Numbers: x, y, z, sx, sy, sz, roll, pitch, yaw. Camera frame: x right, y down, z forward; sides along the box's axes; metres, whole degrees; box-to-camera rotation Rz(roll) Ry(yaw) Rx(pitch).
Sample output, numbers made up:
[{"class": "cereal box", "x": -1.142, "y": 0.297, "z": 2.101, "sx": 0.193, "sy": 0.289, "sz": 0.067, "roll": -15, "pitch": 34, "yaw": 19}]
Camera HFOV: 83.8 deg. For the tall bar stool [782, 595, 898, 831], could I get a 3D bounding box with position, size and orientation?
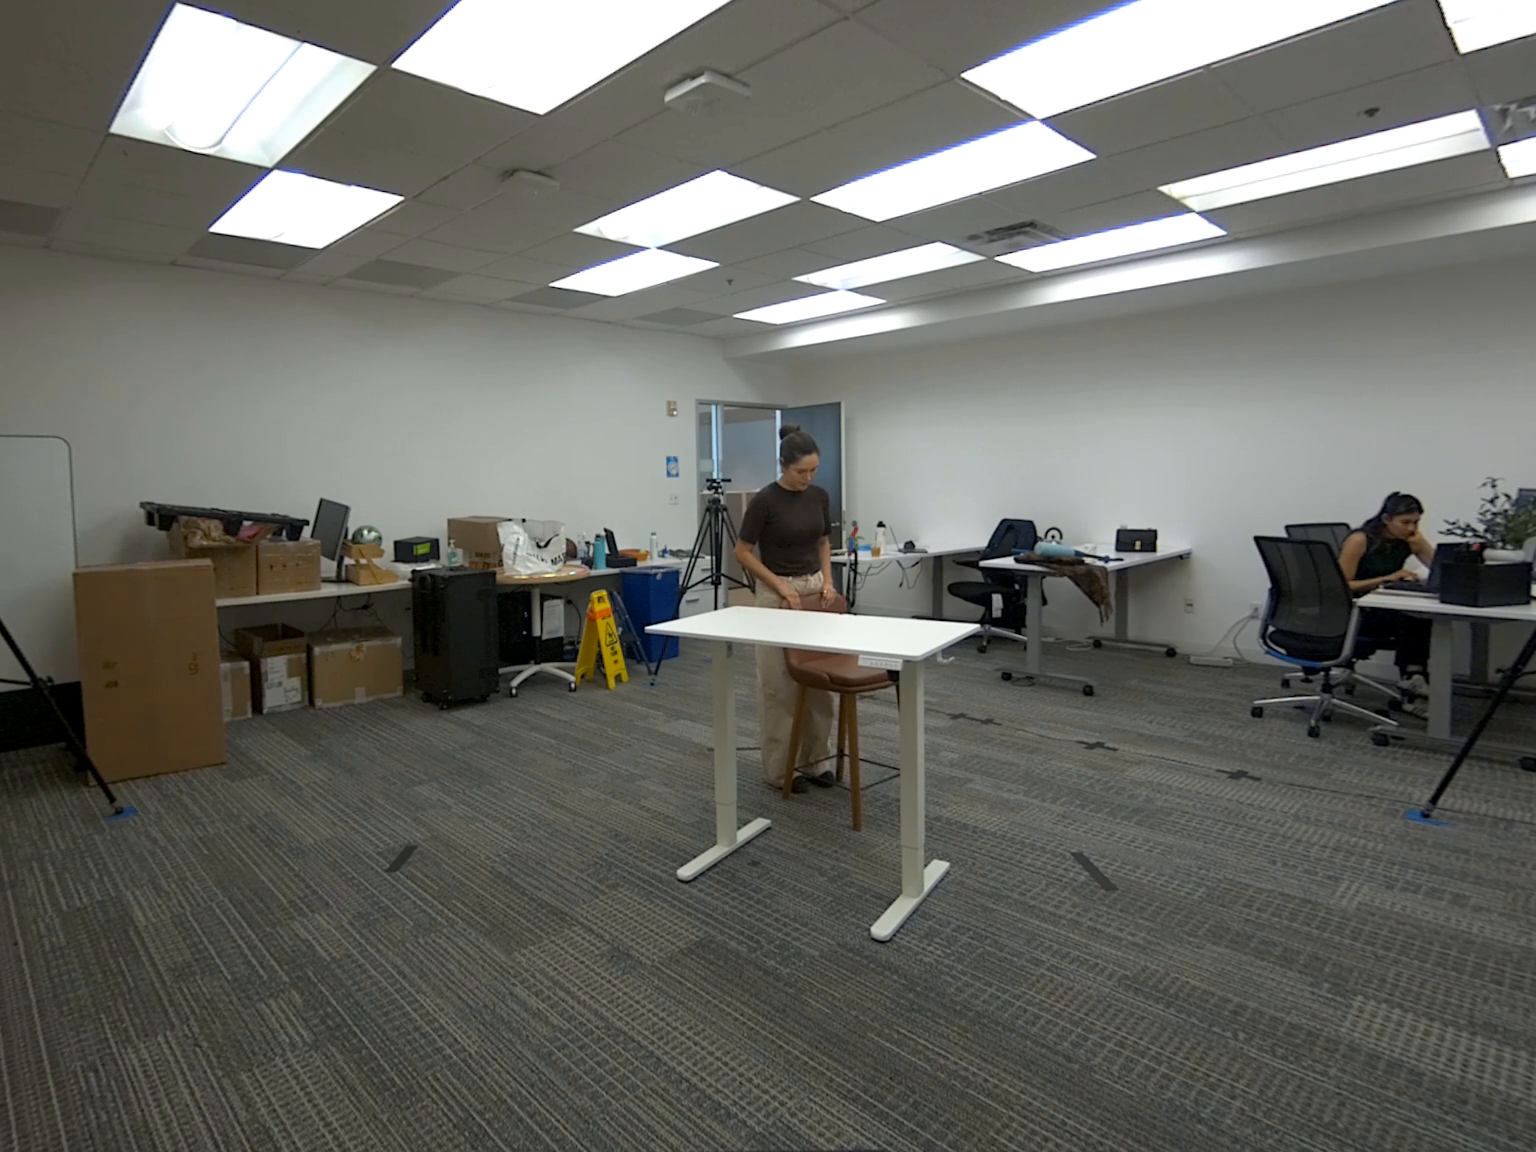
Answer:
[{"class": "tall bar stool", "x": 0.336, "y": 0.535, "z": 3.645, "sx": 0.444, "sy": 0.887, "sz": 0.481, "roll": -4, "pitch": 4, "yaw": -42}]
